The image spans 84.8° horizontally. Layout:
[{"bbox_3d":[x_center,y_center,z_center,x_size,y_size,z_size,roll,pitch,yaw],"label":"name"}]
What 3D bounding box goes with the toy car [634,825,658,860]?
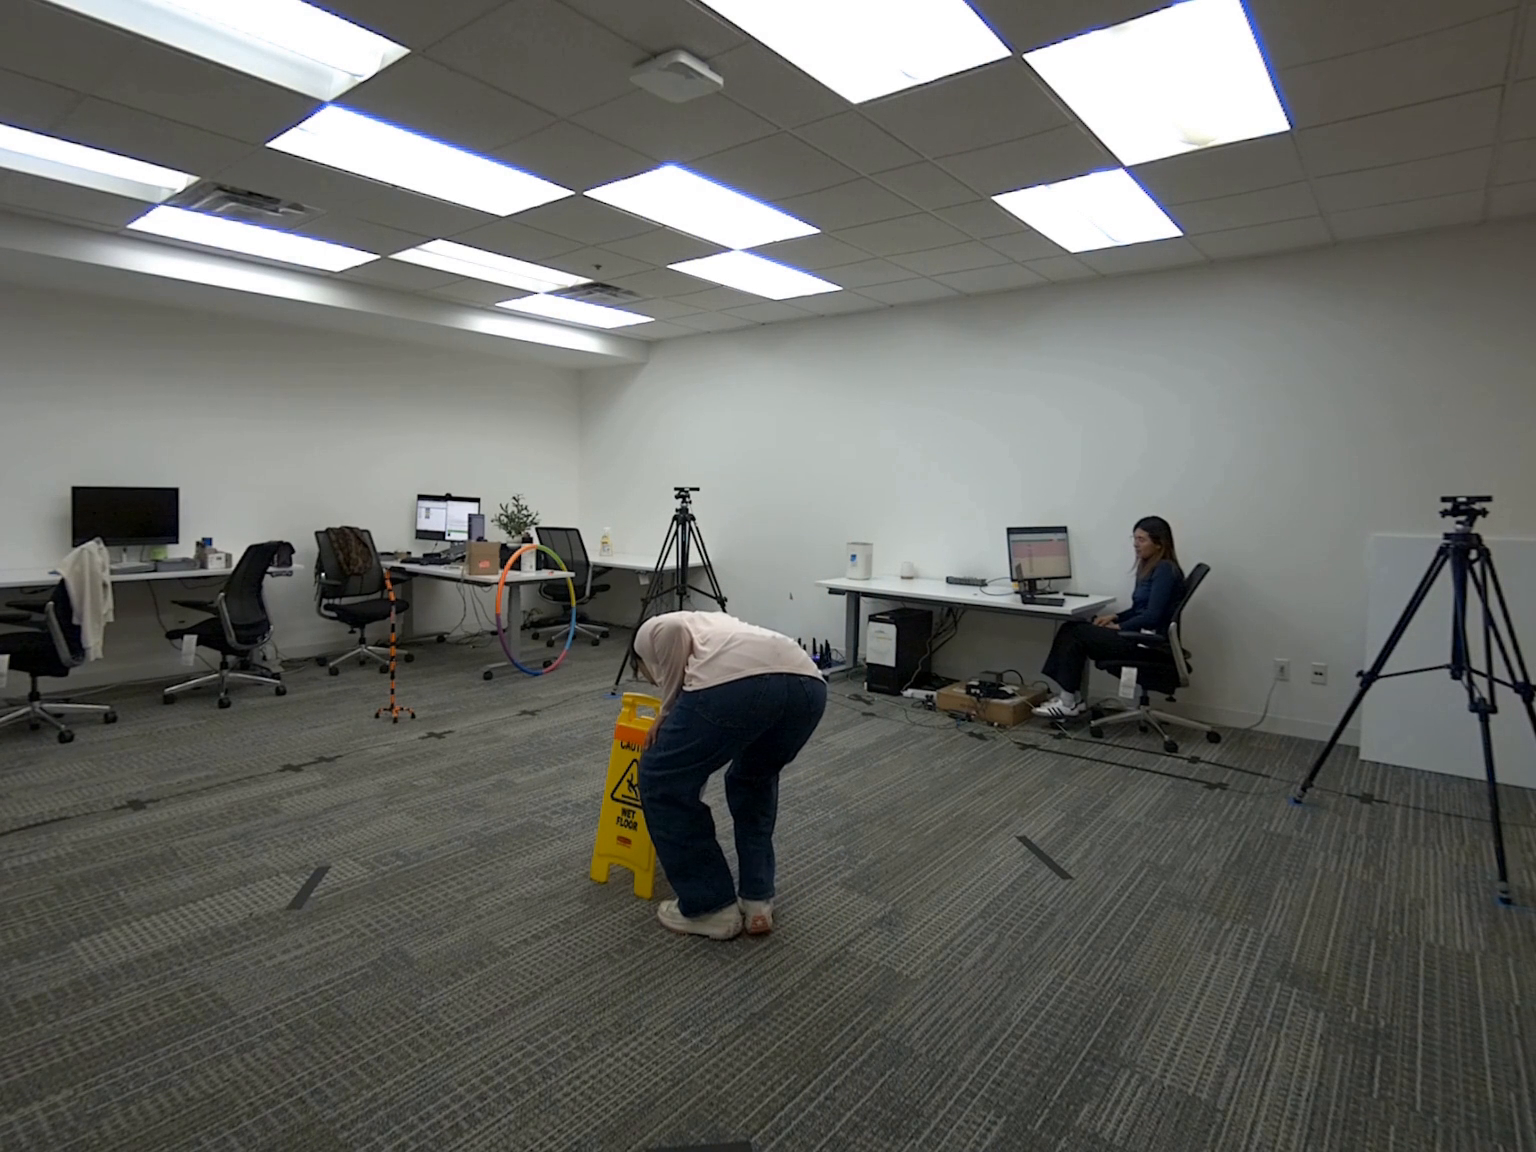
[{"bbox_3d":[-0.369,1.015,3.253,0.258,0.083,0.128,-11,1,15],"label":"toy car"}]
